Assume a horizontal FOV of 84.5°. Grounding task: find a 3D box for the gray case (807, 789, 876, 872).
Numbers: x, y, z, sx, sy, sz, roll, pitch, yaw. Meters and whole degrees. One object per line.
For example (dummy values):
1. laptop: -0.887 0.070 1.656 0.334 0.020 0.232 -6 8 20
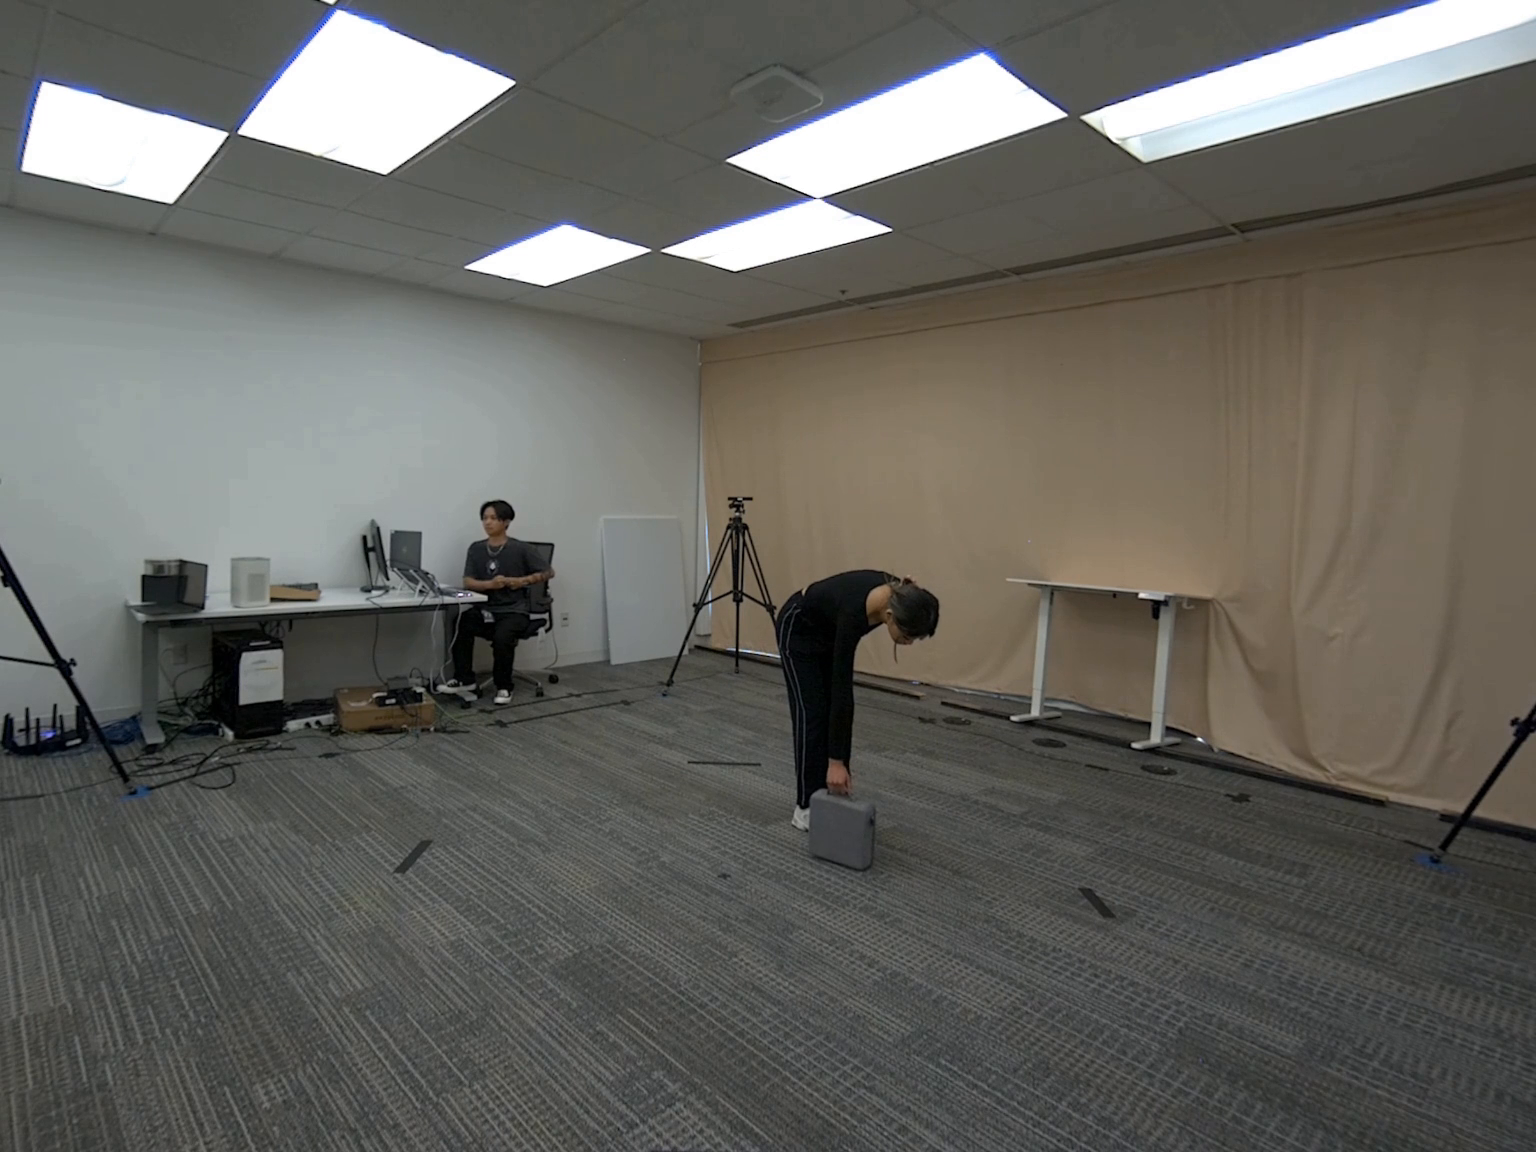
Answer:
1. gray case: 0.274 0.969 3.246 0.263 0.259 0.102 4 7 34
